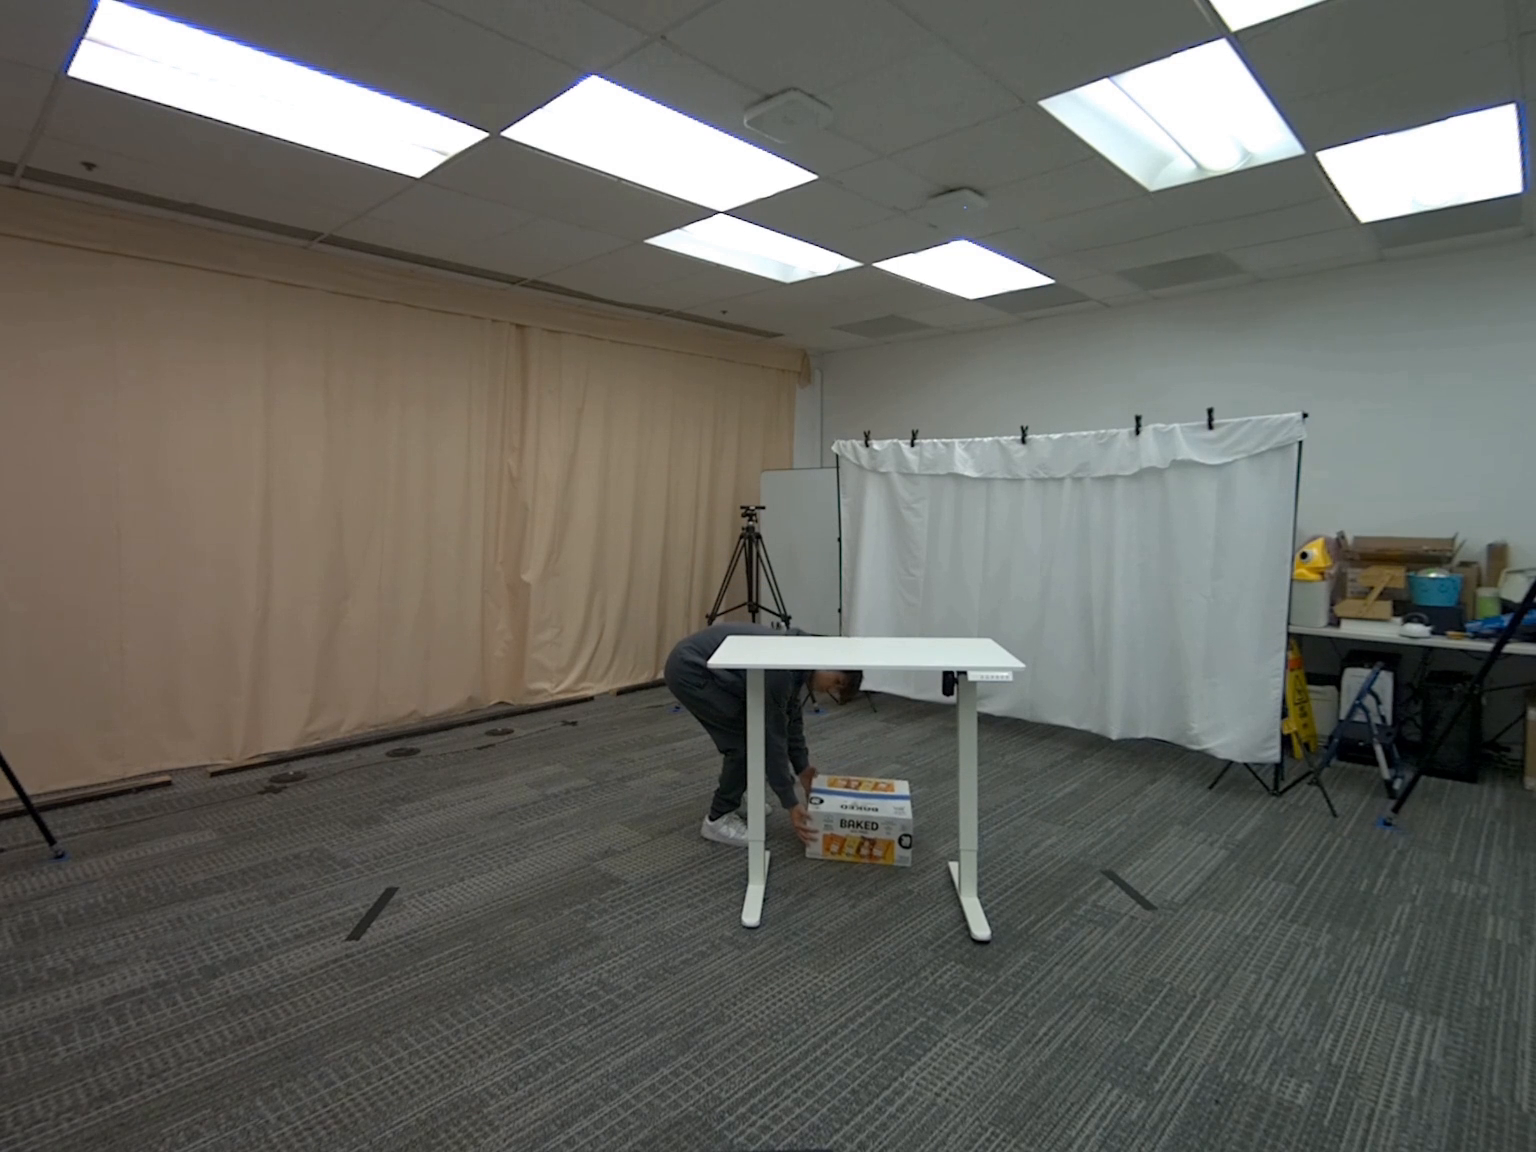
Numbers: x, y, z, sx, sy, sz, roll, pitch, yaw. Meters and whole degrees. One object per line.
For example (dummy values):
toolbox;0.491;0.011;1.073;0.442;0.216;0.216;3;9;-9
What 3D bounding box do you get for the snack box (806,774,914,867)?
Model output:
snack box;0.374;0.986;3.425;0.409;0.204;0.339;2;10;8
